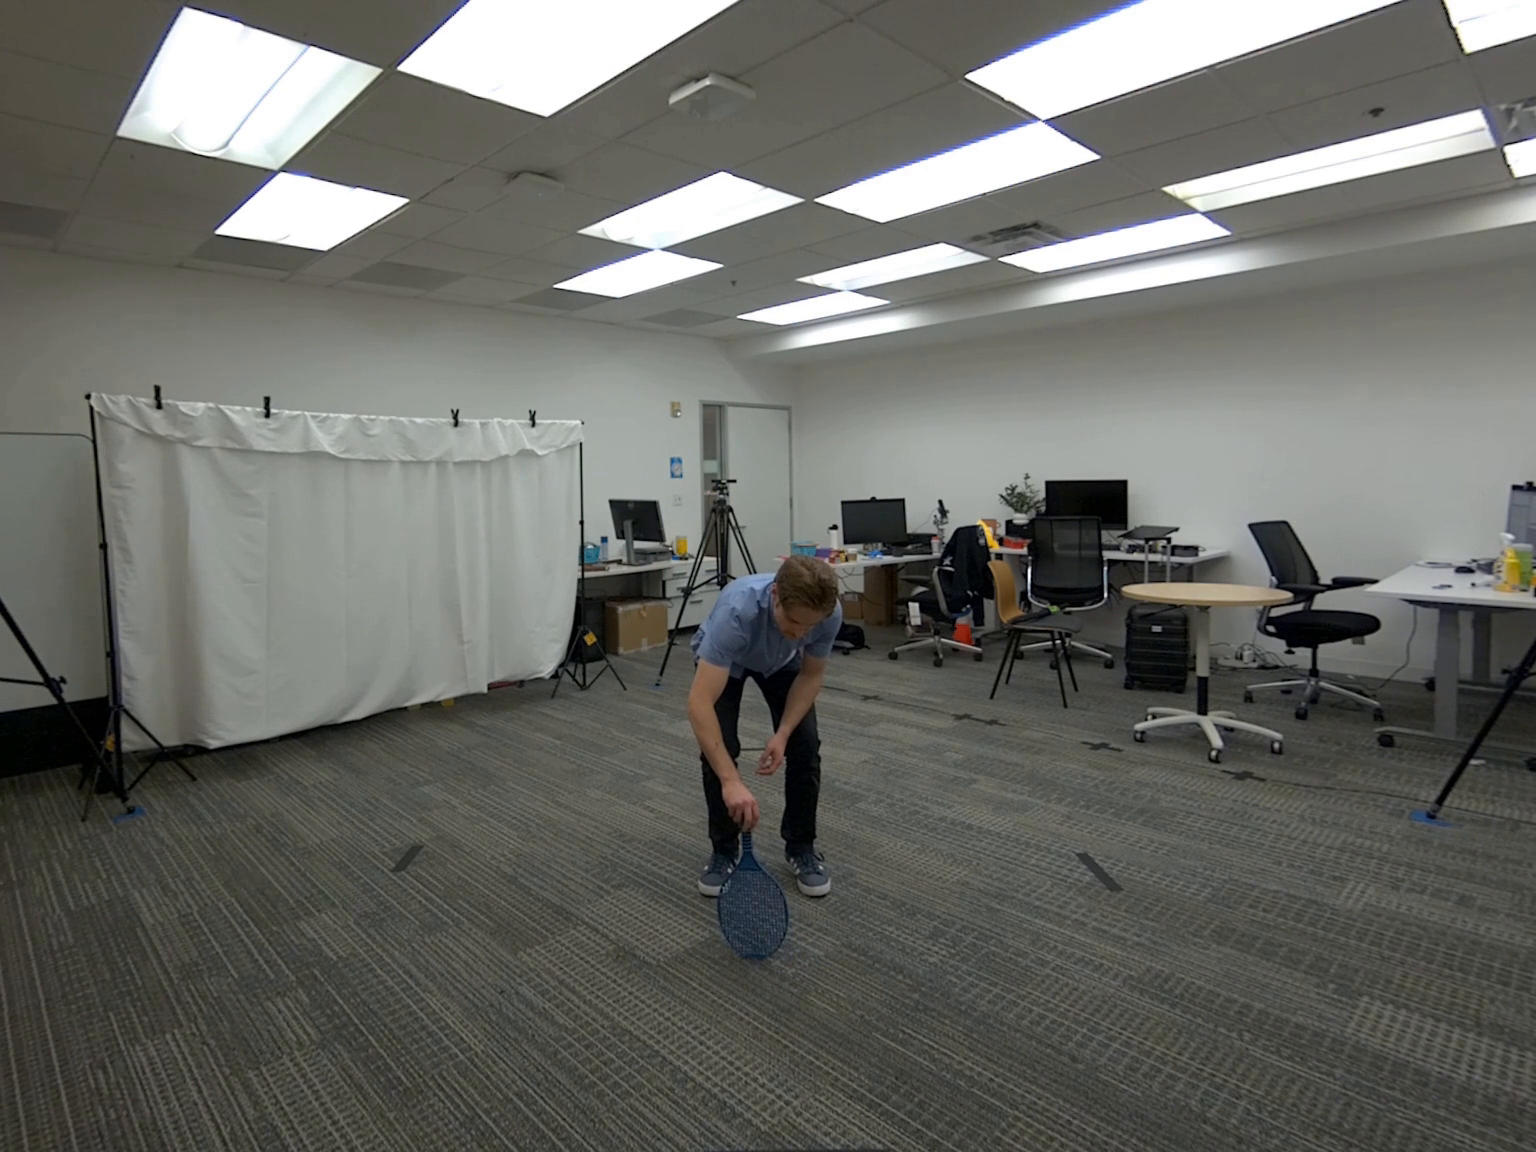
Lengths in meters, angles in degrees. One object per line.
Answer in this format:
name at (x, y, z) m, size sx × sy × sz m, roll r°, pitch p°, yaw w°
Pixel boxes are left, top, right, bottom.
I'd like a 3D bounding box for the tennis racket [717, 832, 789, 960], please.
tennis racket at (-0.039, 0.896, 2.512) m, size 0.218 × 0.433 × 0.031 m, roll 0°, pitch 0°, yaw 20°
